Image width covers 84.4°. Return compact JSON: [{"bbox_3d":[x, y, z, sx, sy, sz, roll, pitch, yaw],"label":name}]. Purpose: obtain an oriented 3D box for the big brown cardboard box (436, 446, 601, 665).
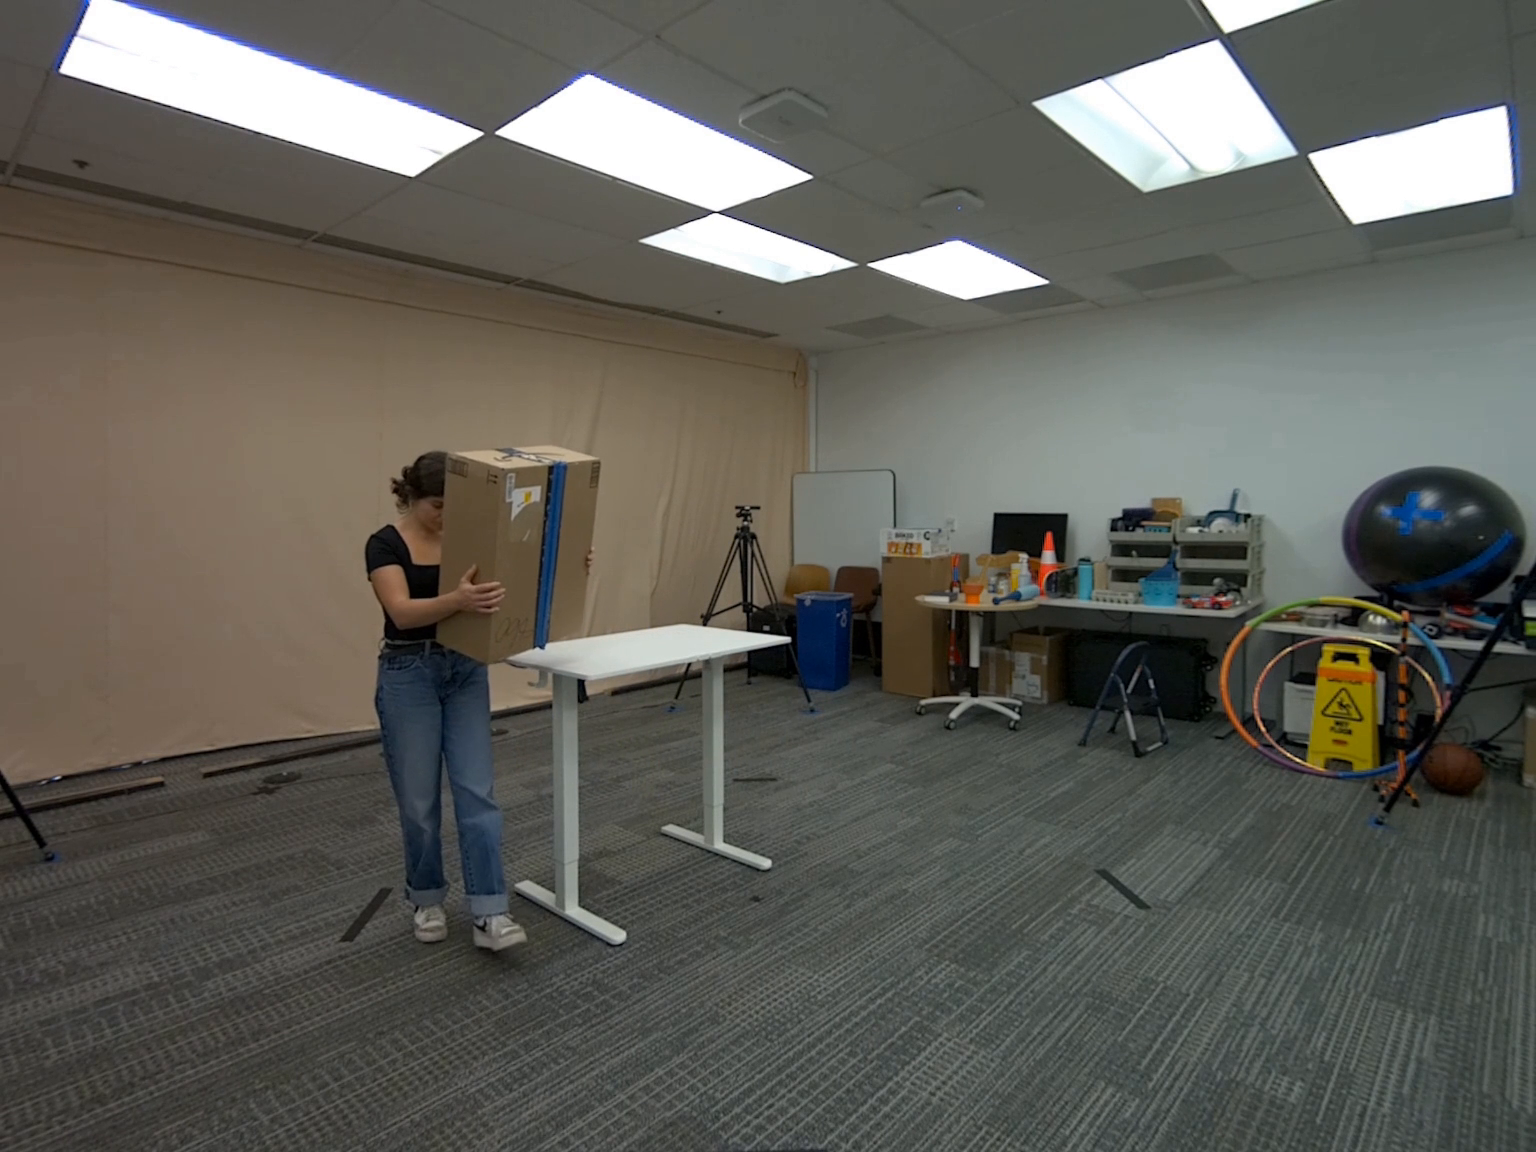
[{"bbox_3d":[-0.731,-0.083,2.495,0.240,0.585,0.409,17,18,24],"label":"big brown cardboard box"}]
